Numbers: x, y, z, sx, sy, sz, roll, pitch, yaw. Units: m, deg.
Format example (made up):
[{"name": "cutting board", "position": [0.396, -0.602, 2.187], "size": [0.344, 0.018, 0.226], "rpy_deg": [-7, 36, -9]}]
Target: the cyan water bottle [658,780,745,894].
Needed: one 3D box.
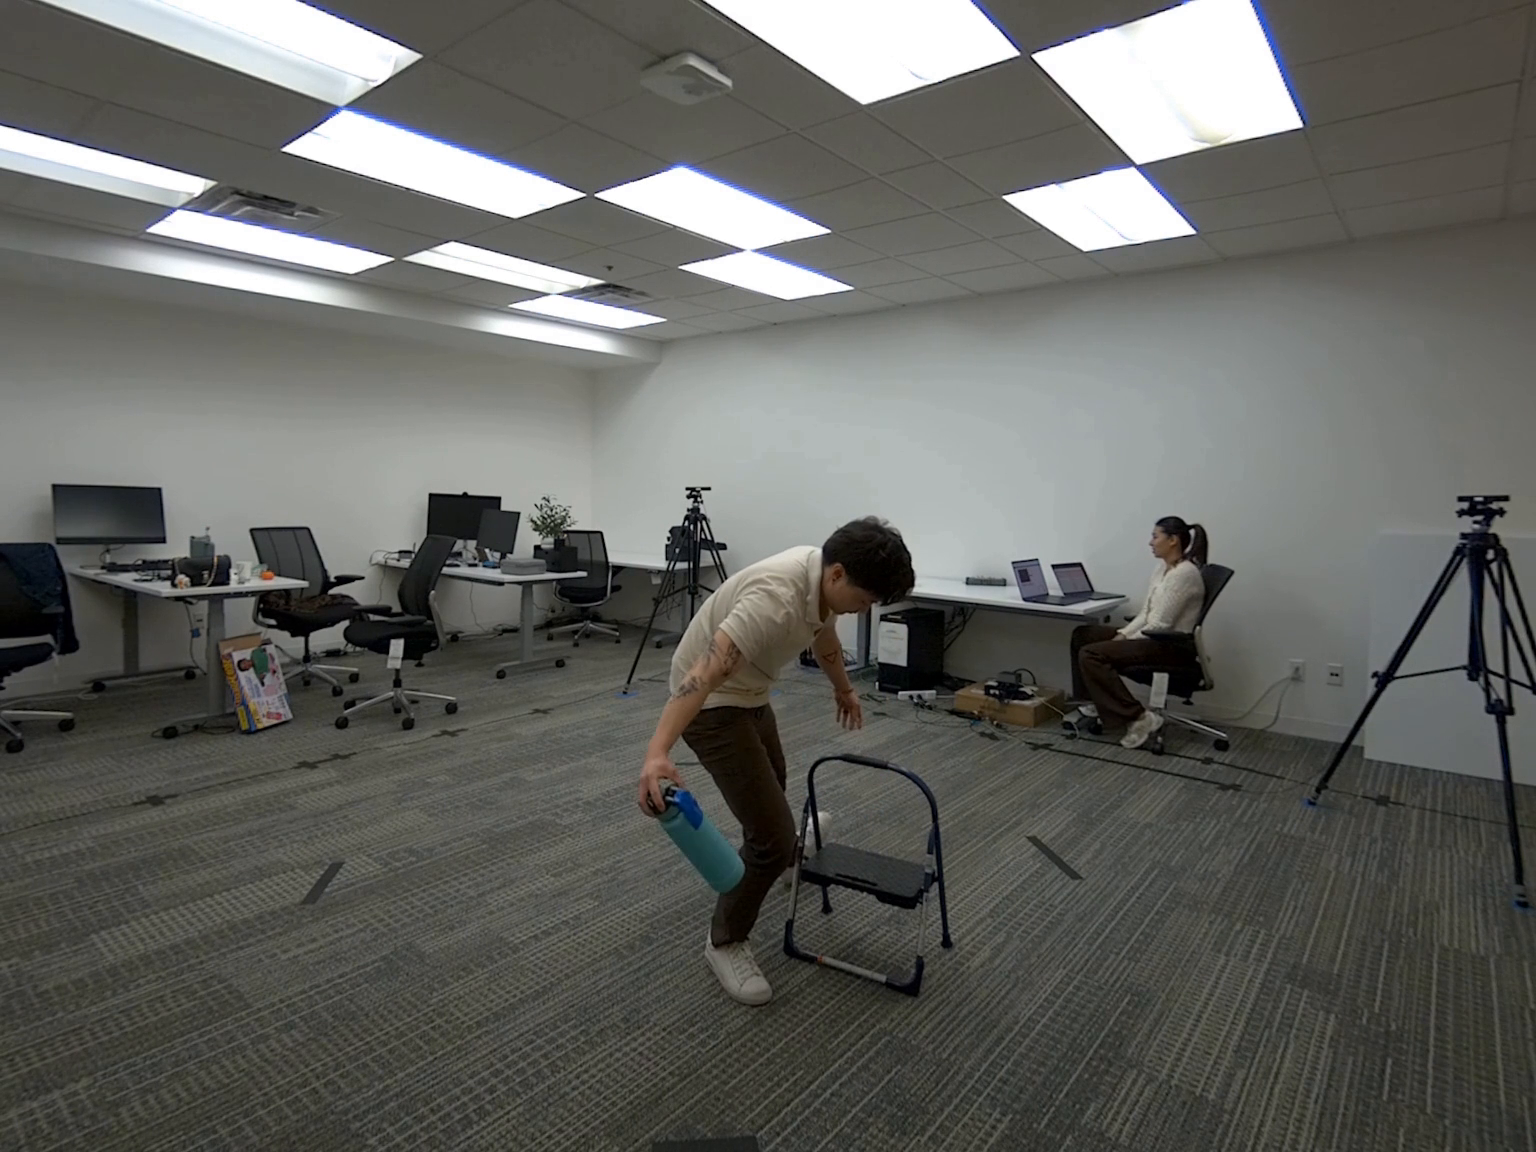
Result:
[{"name": "cyan water bottle", "position": [-0.137, 0.577, 1.888], "size": [0.093, 0.275, 0.094], "rpy_deg": [-28, 22, 11]}]
